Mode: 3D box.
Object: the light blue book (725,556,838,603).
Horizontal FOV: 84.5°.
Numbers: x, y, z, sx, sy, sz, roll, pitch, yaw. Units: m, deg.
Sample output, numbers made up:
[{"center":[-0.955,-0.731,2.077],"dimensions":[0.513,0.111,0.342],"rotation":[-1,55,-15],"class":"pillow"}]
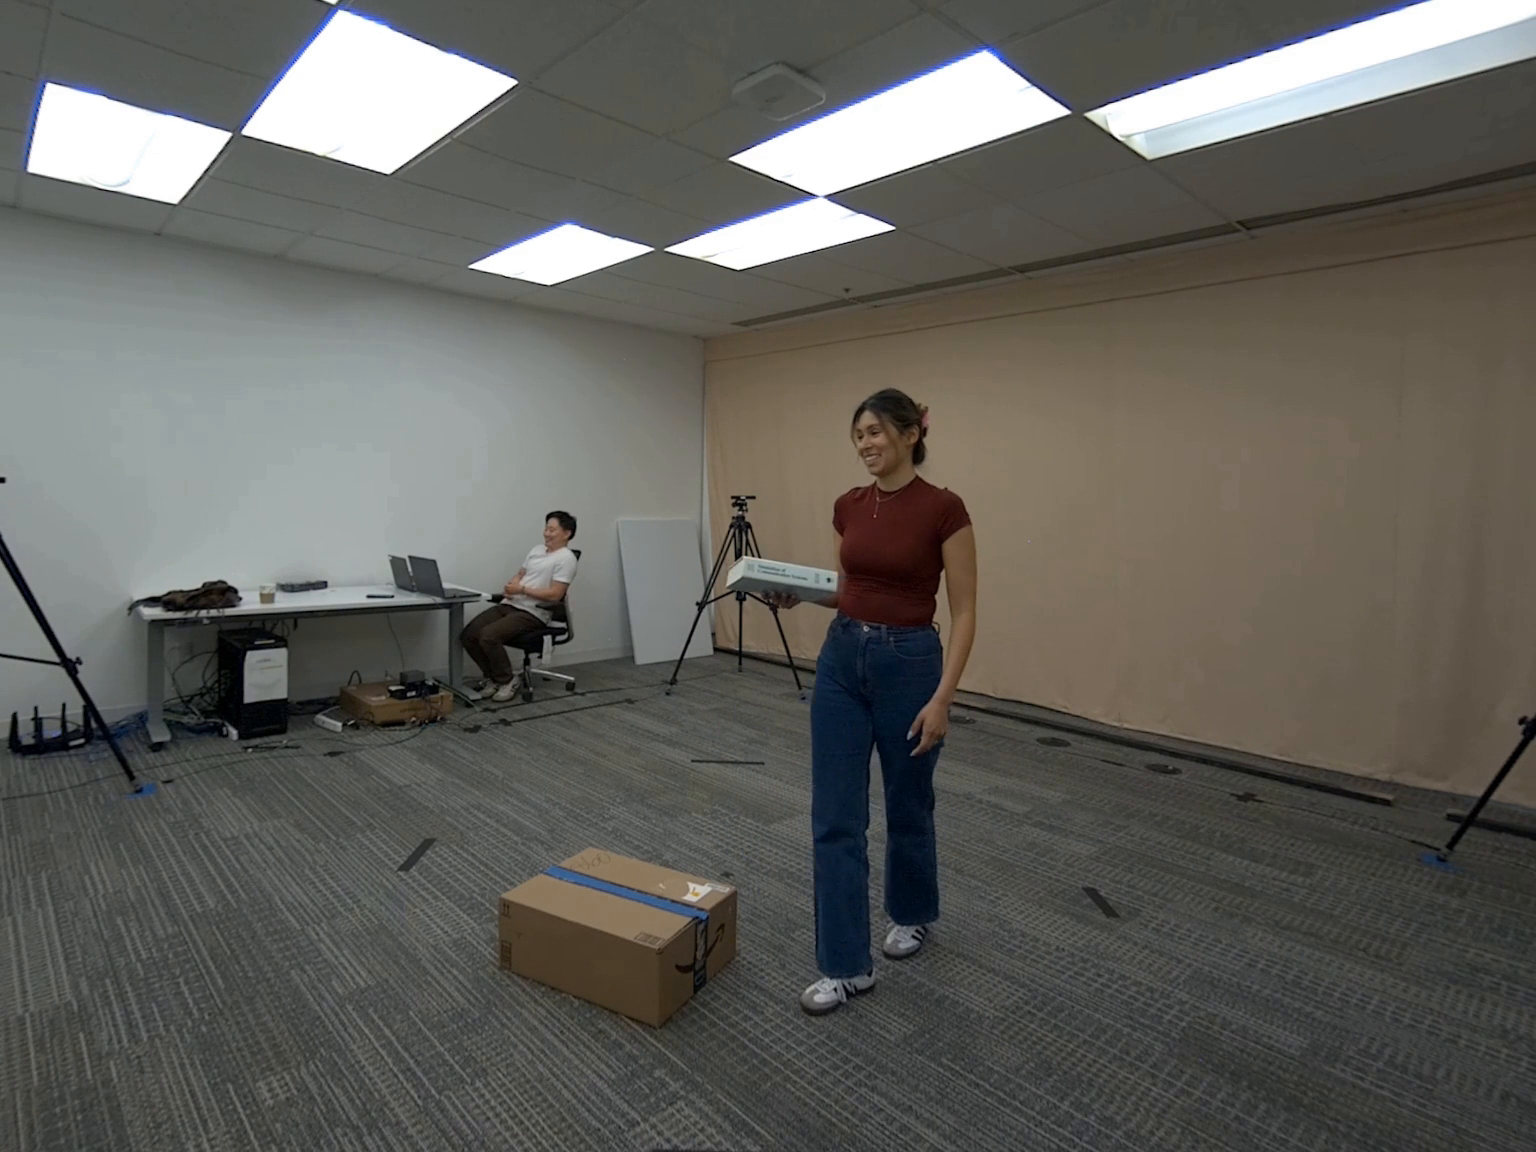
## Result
[{"center":[0.036,0.012,2.292],"dimensions":[0.259,0.059,0.191],"rotation":[9,-12,-11],"class":"light blue book"}]
